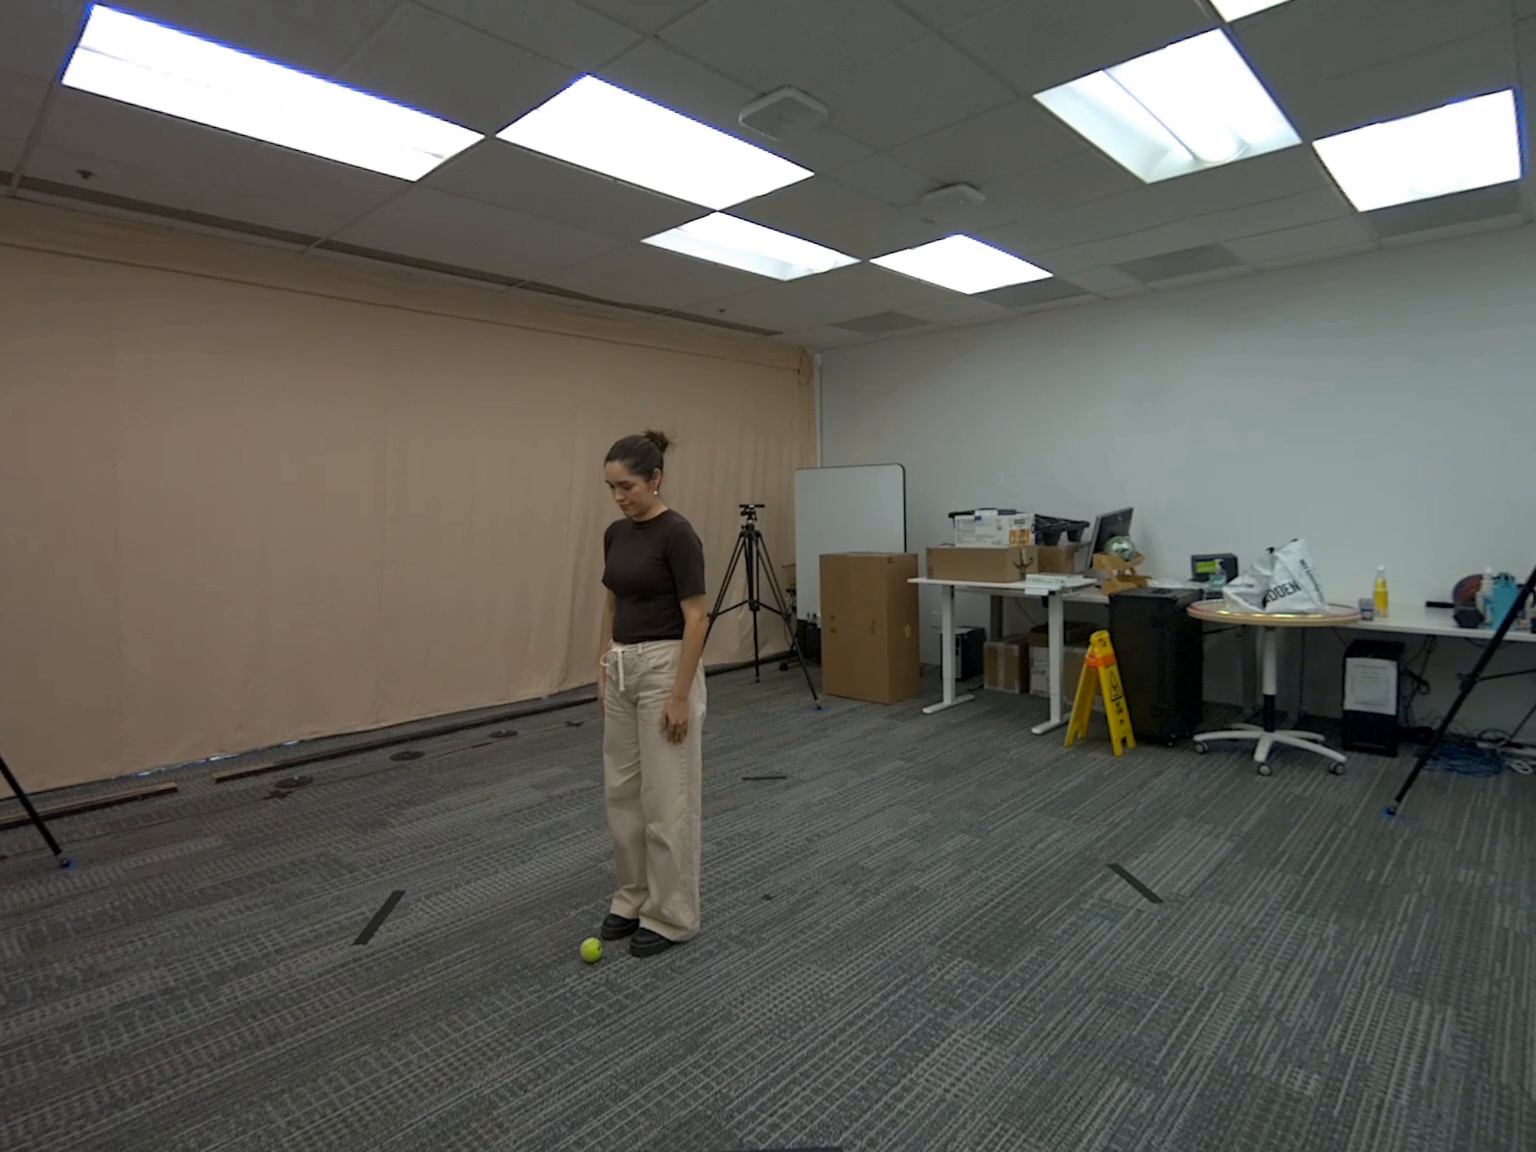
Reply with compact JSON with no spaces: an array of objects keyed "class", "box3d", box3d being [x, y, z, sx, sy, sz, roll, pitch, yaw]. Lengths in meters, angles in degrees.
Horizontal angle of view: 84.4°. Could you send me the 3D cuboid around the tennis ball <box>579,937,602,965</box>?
[{"class":"tennis ball","box3d":[-0.532,1.131,2.589,0.066,0.066,0.067,-1,4,-2]}]
